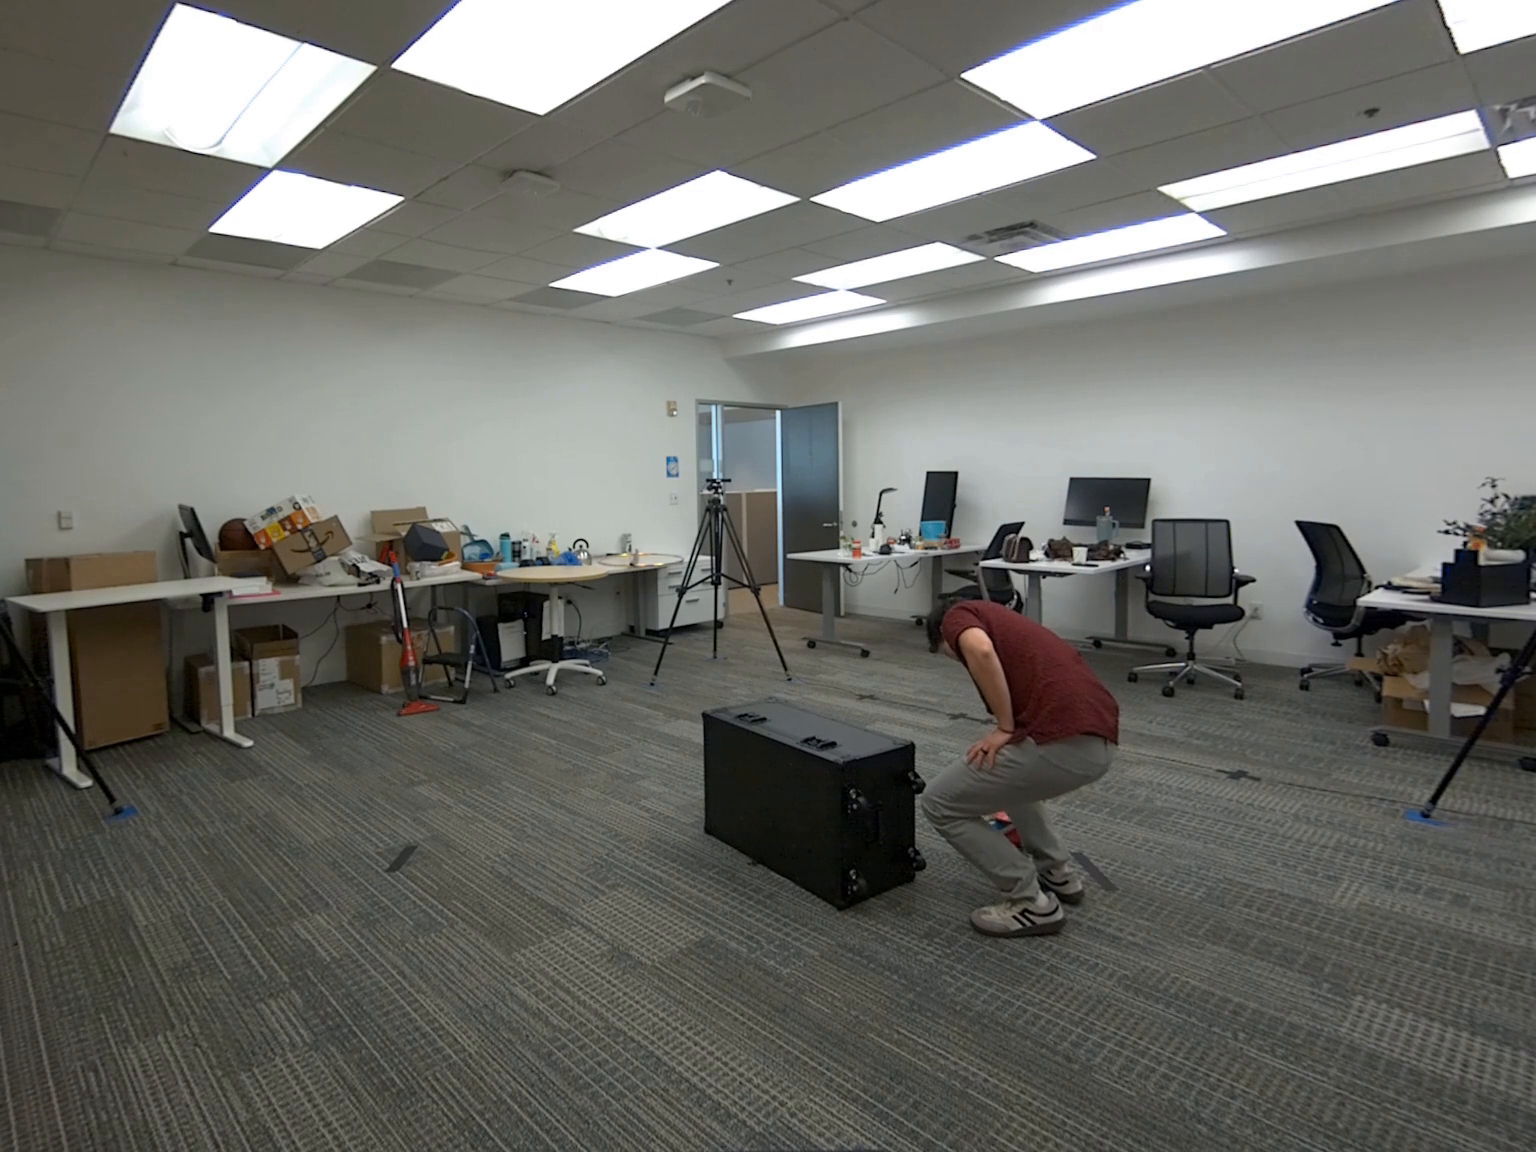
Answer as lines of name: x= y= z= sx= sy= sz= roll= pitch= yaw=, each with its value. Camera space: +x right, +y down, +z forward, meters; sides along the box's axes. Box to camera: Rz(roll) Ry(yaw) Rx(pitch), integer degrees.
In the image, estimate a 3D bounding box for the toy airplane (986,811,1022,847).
toy airplane: x=0.855 y=0.928 z=3.154 sx=0.258 sy=0.156 sz=0.252 roll=-1 pitch=2 yaw=39
